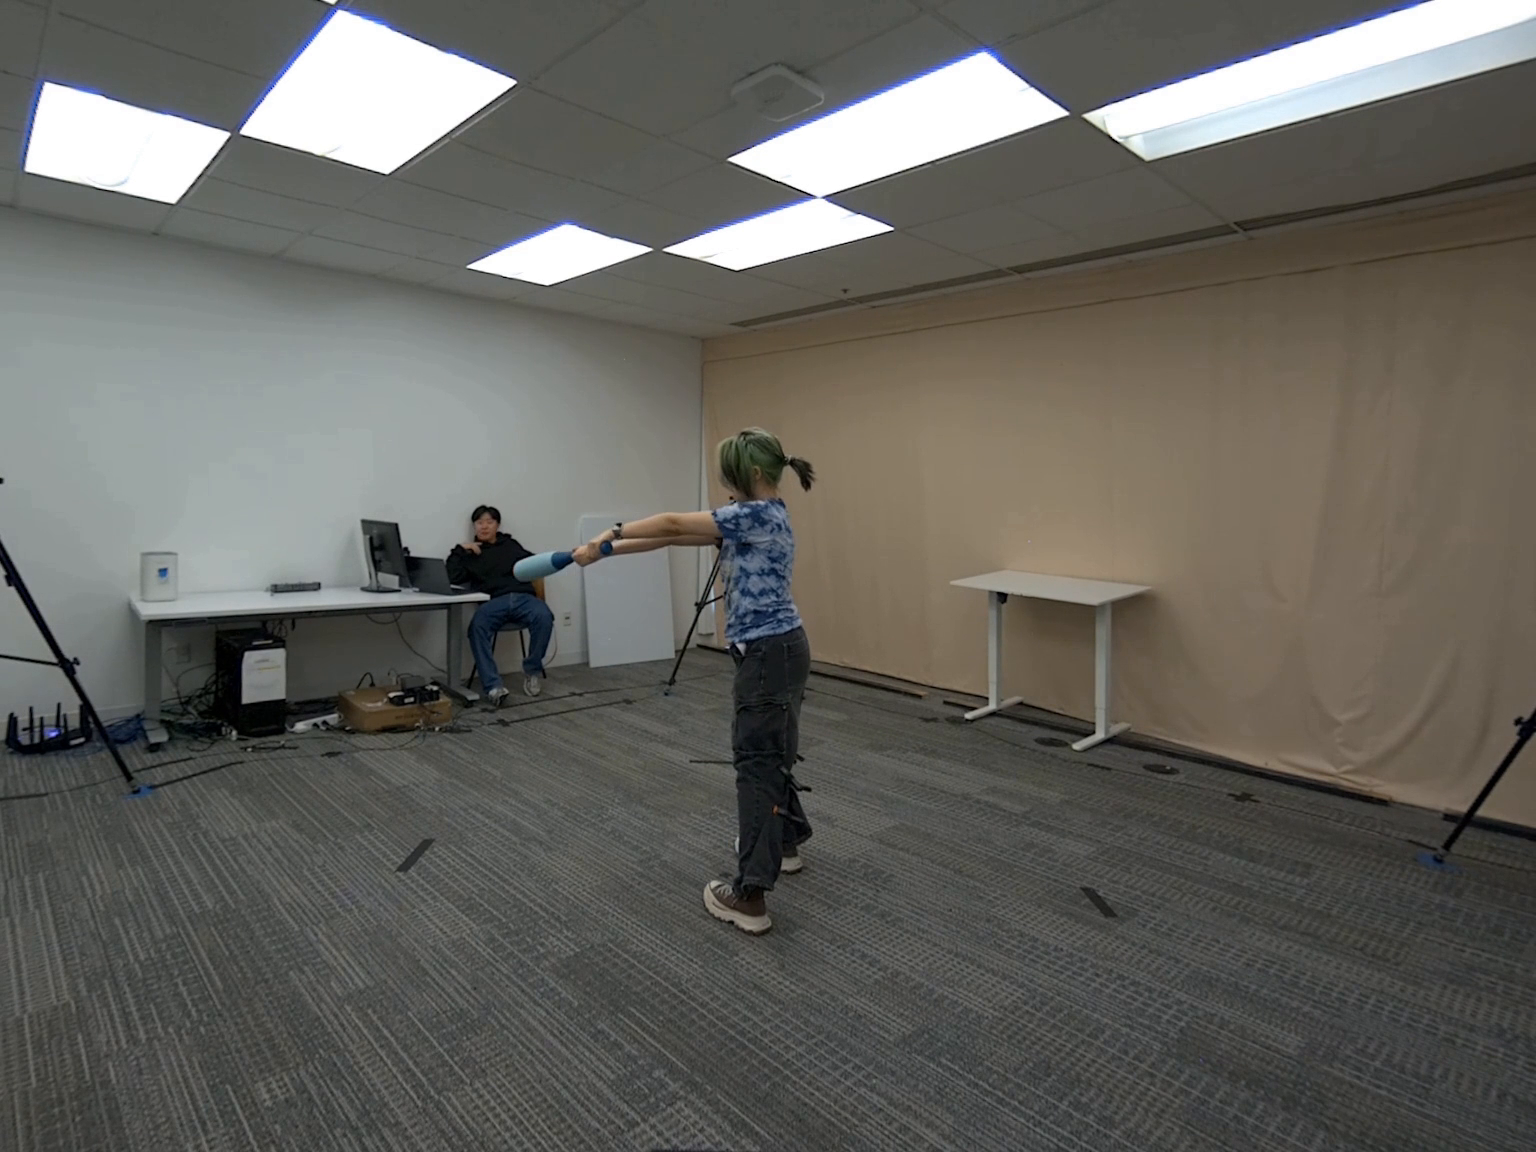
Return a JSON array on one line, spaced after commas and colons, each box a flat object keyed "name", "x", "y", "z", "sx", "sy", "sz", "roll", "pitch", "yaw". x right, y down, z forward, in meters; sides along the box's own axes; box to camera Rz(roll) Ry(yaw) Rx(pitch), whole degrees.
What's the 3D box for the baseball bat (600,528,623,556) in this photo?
[{"name": "baseball bat", "x": -0.750, "y": -0.053, "z": 3.091, "sx": 0.553, "sy": 0.089, "sz": 0.087, "roll": -11, "pitch": -5, "yaw": 40}]
